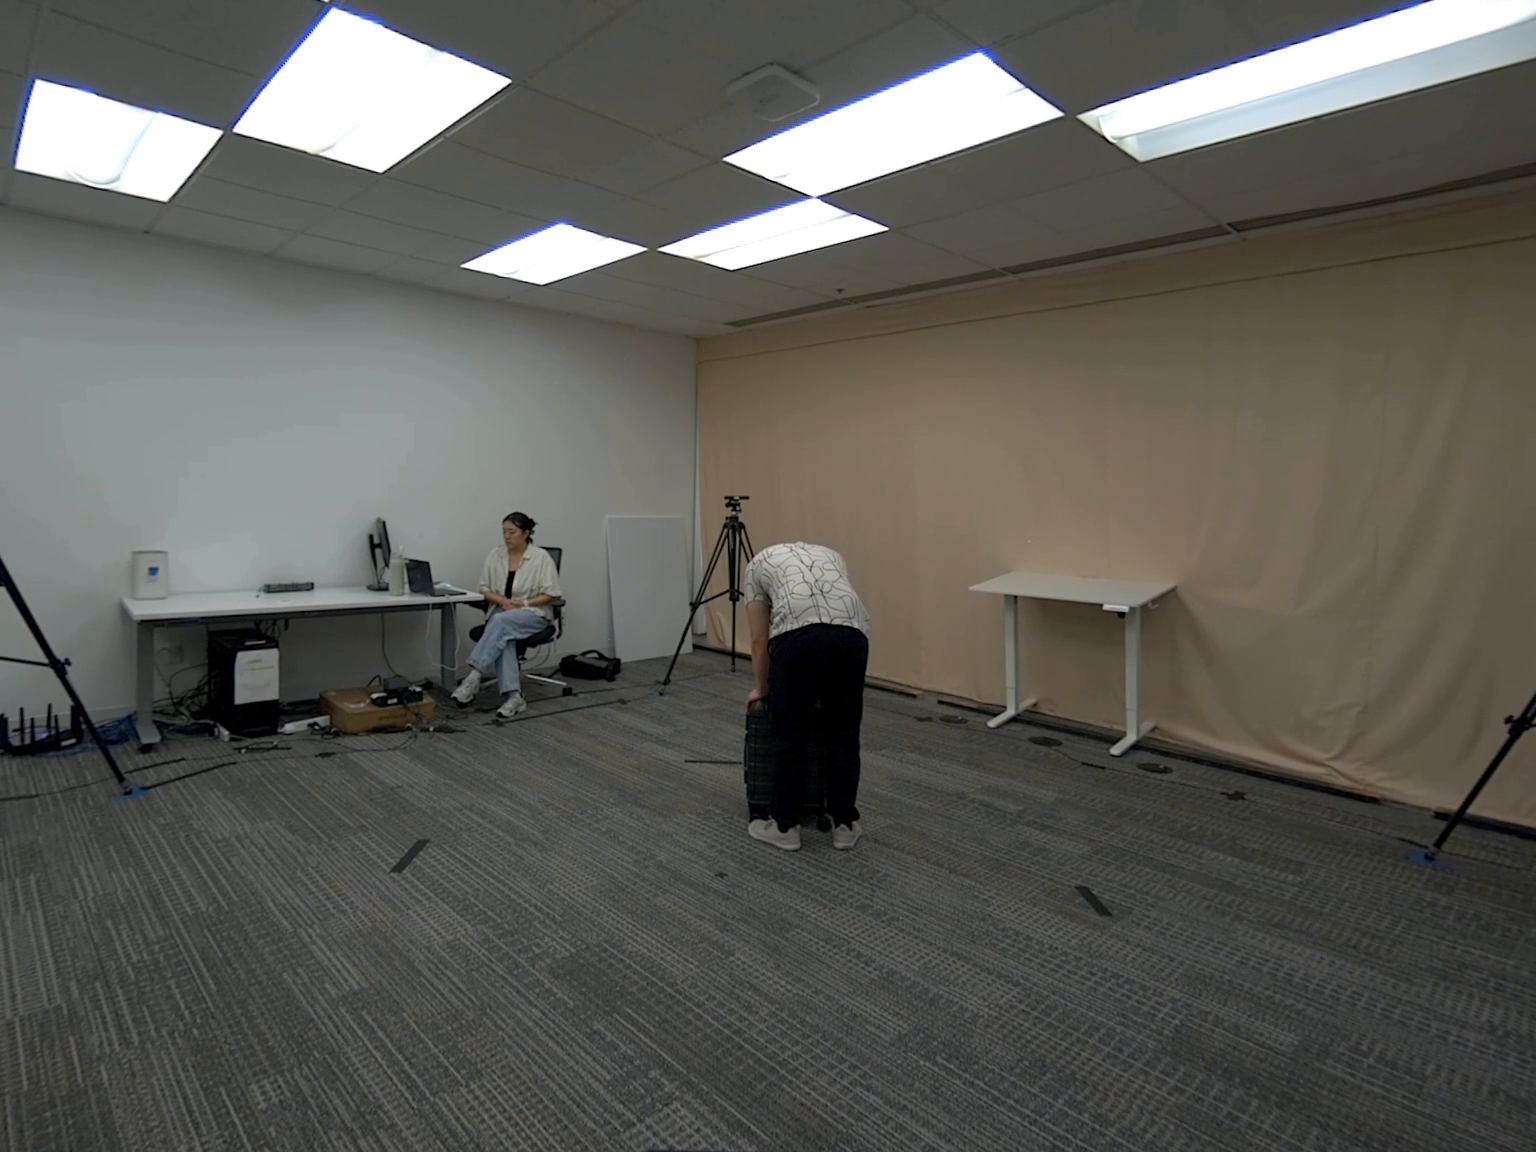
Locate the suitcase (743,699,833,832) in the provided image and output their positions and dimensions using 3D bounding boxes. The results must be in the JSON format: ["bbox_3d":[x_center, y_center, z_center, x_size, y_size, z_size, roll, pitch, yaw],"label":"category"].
[{"bbox_3d":[0.081,0.786,3.687,0.377,0.549,0.247,1,0,4],"label":"suitcase"}]
